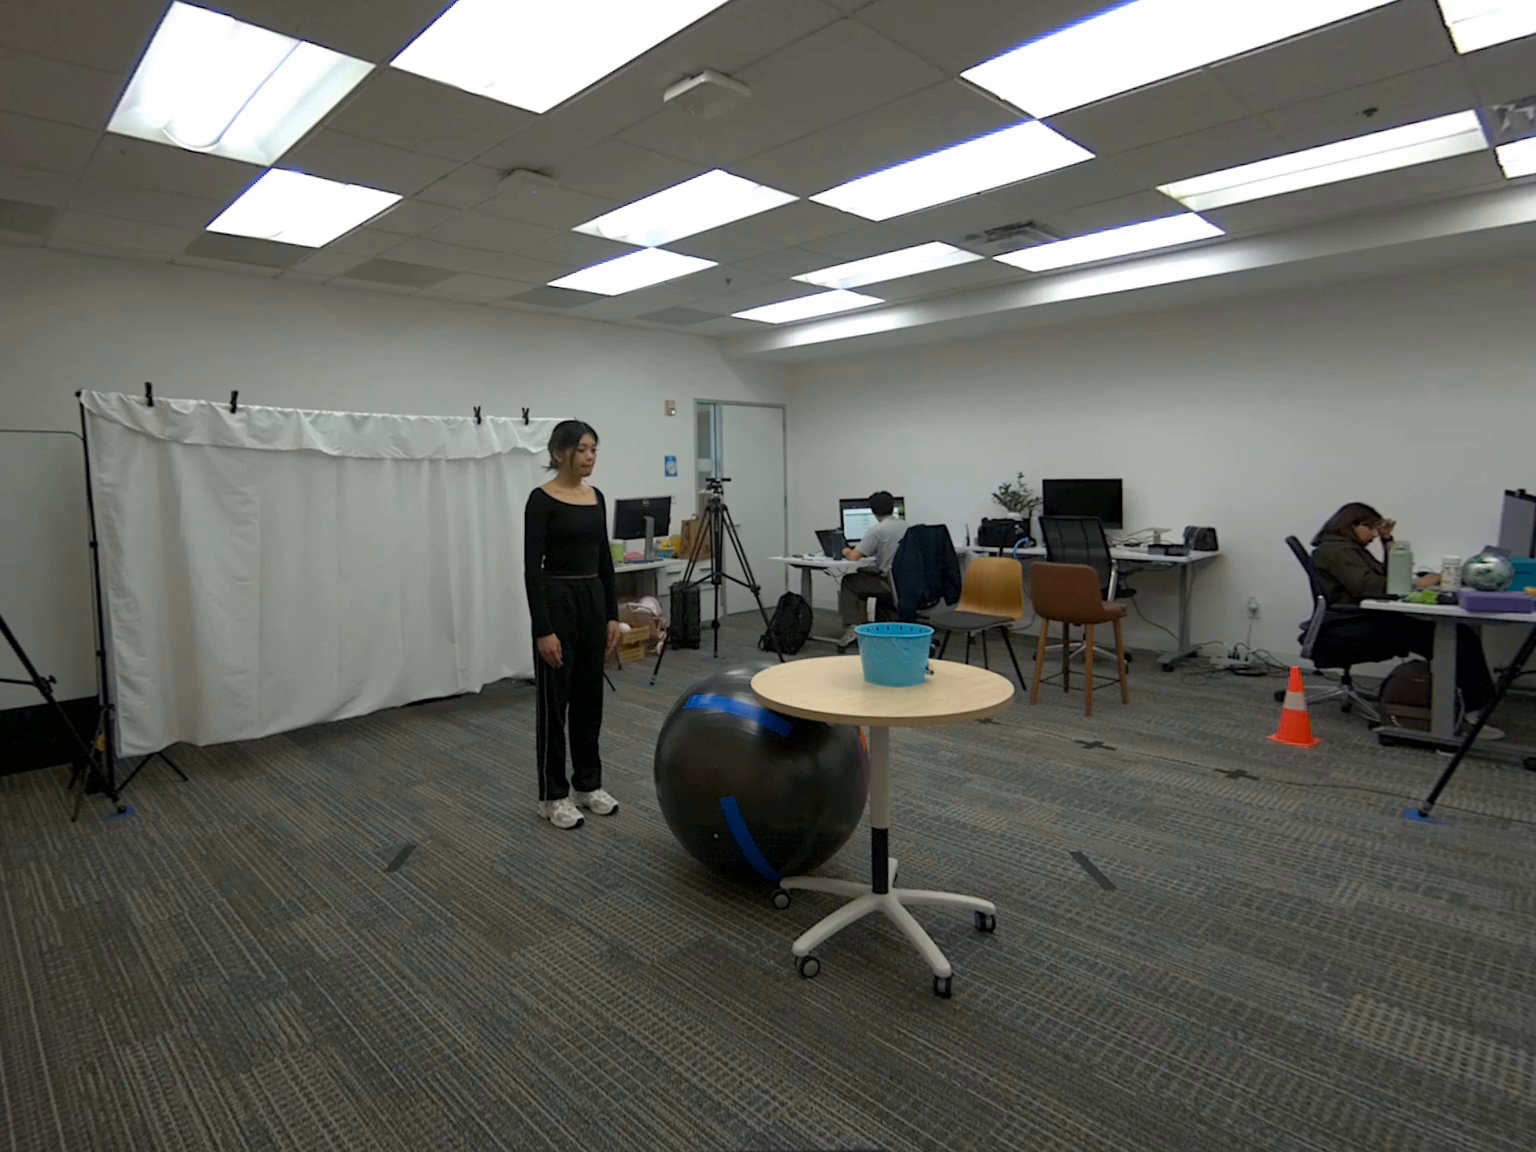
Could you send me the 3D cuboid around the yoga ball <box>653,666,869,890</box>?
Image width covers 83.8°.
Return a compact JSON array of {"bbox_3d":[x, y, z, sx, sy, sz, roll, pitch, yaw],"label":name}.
[{"bbox_3d":[-0.026,0.686,3.018,0.757,0.755,0.762,-1,5,-2],"label":"yoga ball"}]
